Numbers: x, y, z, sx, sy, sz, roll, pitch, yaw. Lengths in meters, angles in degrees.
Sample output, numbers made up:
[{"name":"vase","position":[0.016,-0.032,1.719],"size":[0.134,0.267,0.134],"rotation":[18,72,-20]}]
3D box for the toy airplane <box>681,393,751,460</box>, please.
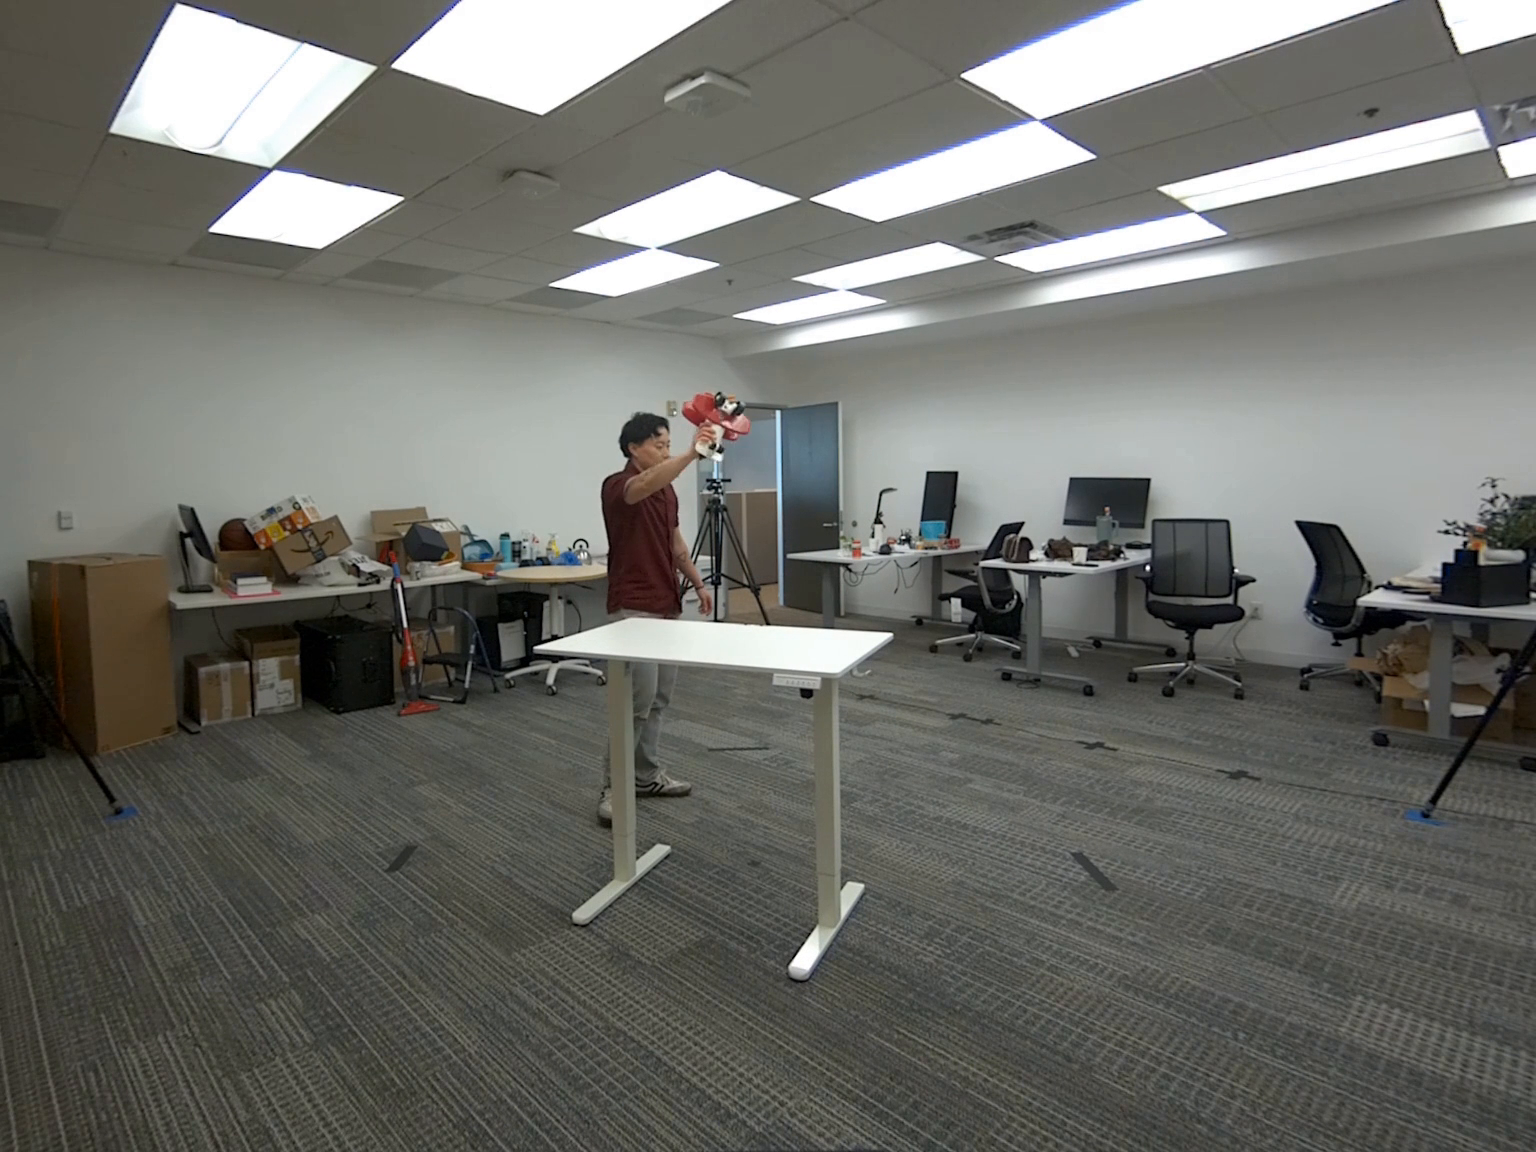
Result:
[{"name":"toy airplane","position":[-0.206,-0.569,3.181],"size":[0.259,0.245,0.160],"rotation":[-46,21,-22]}]
